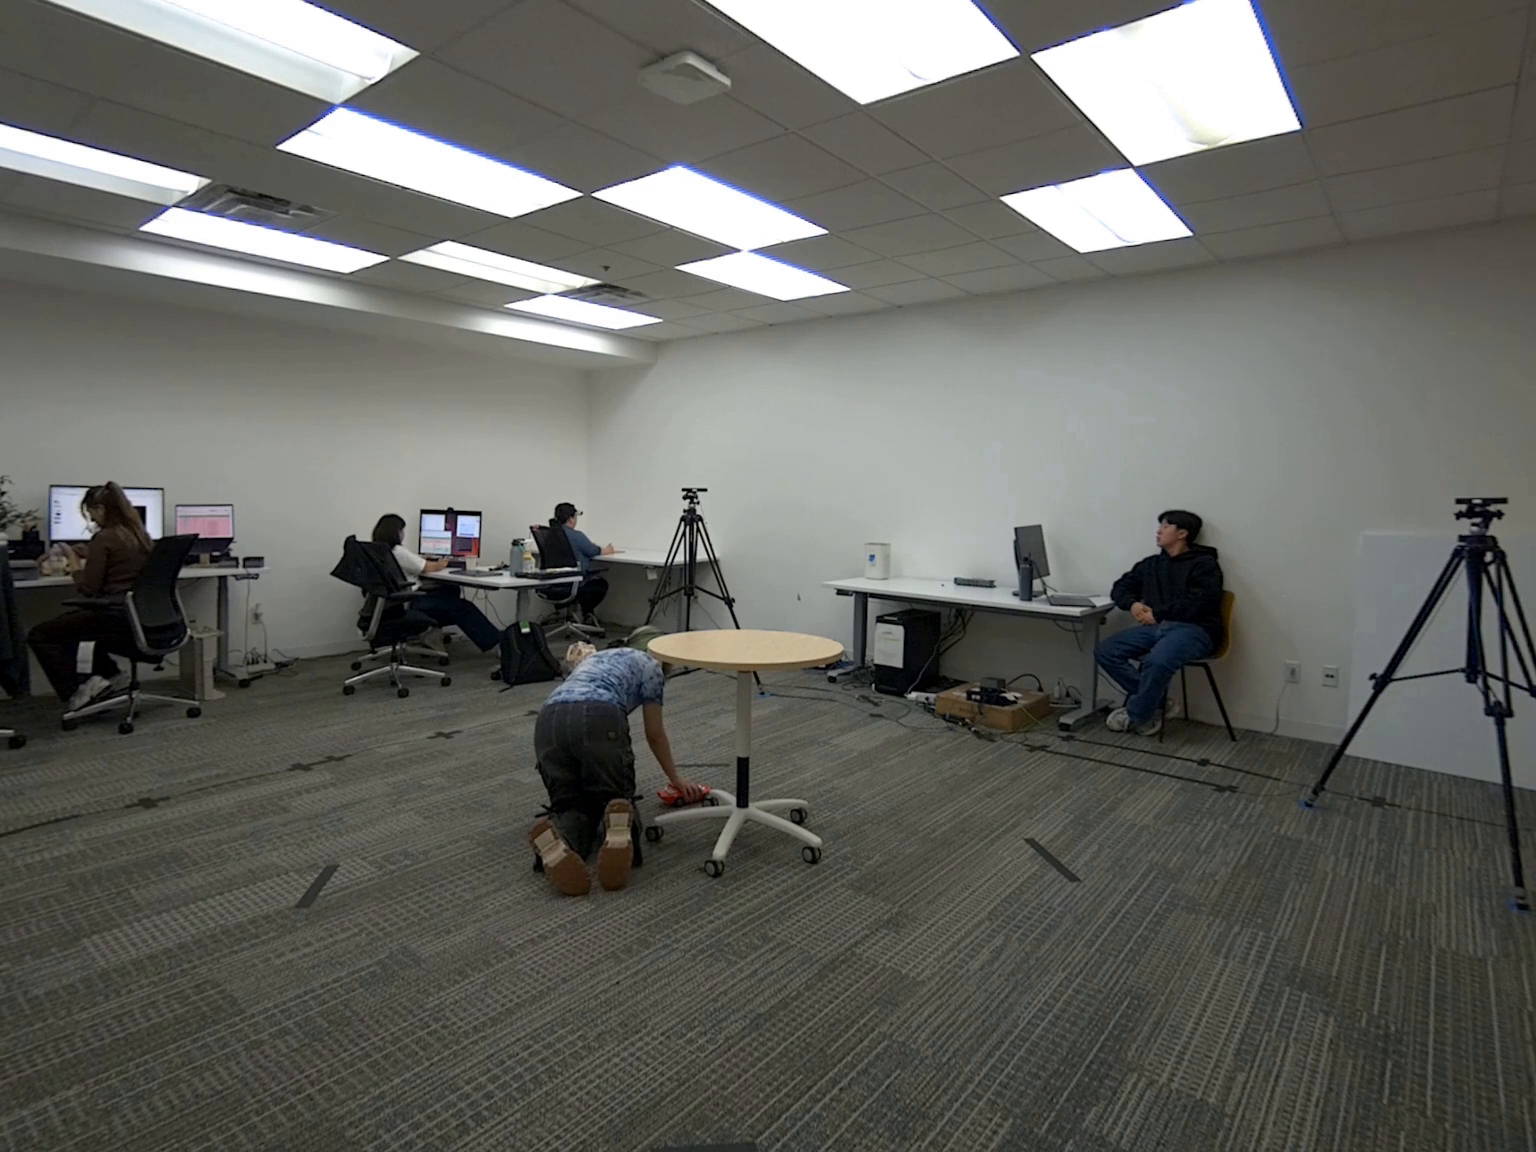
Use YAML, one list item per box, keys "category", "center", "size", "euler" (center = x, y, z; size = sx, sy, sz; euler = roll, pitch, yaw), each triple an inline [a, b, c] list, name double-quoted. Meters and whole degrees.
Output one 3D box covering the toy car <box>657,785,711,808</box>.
- category: "toy car"
  center: [-0.397, 0.969, 3.791]
  size: [0.246, 0.083, 0.134]
  euler: [12, -2, -33]
